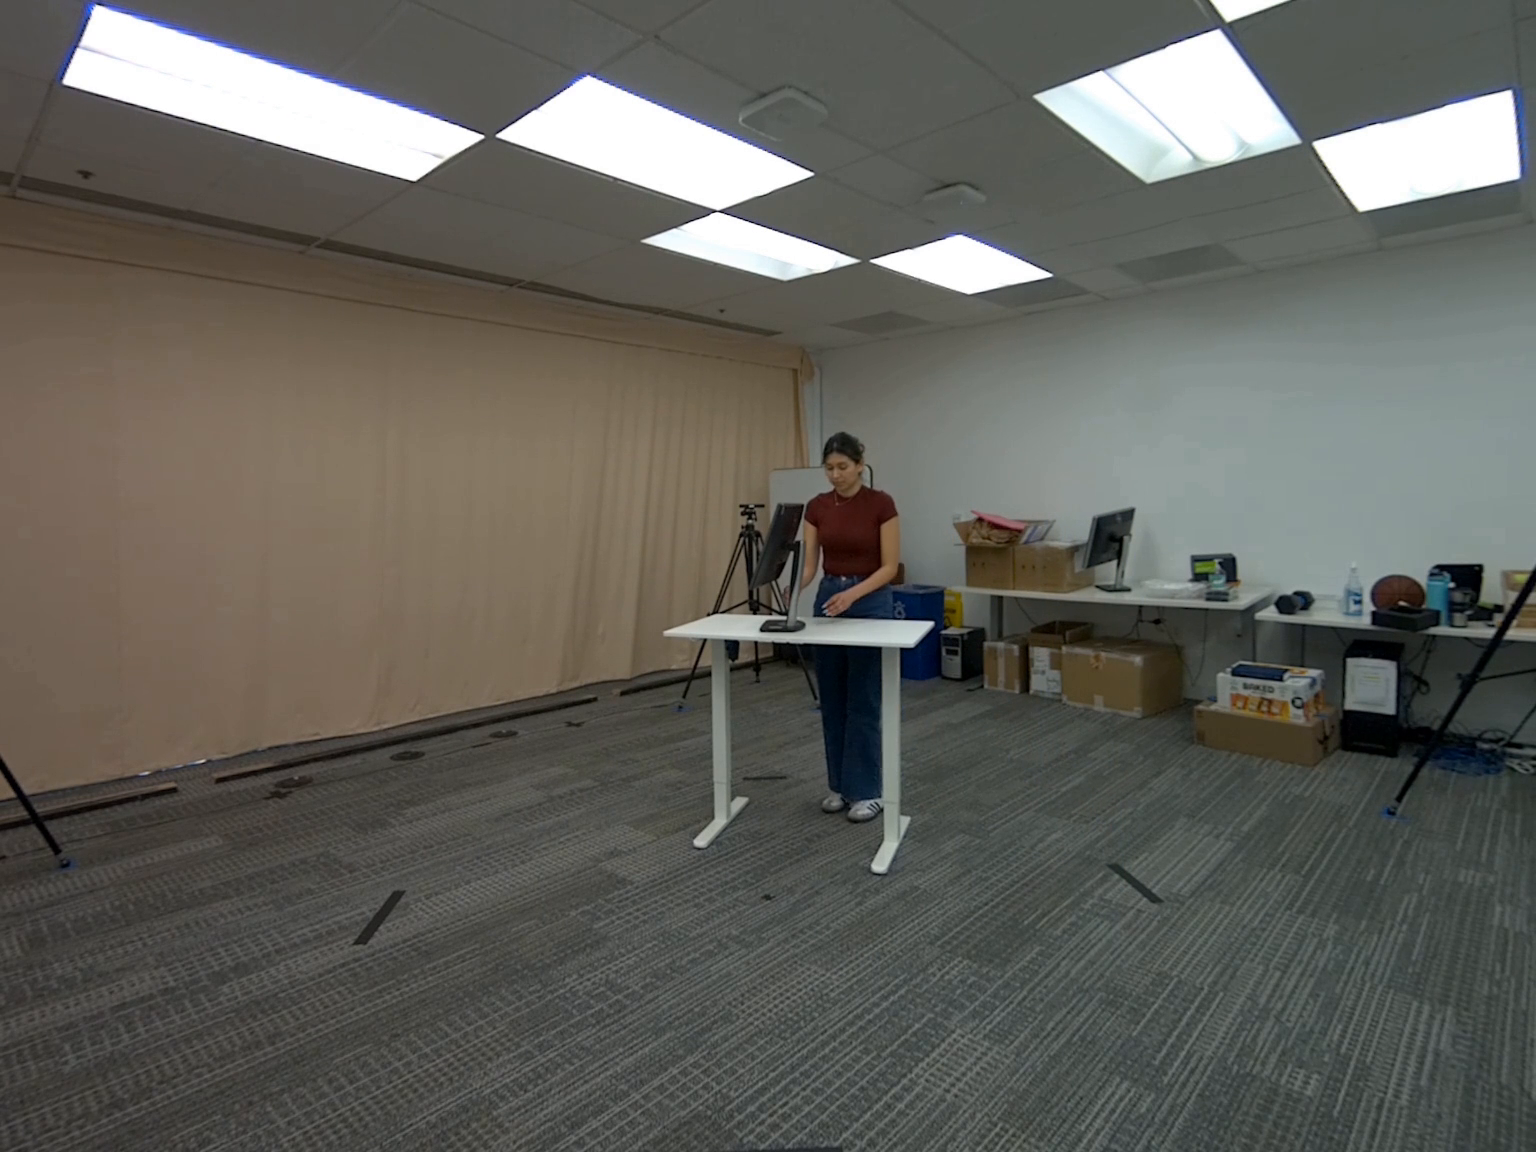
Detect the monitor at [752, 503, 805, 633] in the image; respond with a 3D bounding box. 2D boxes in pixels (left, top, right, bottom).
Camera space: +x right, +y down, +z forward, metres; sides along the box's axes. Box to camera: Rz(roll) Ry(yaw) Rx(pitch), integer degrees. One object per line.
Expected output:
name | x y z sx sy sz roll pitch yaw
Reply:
monitor | 0.074 -0.039 3.480 0.189 0.521 0.533 3 4 9
